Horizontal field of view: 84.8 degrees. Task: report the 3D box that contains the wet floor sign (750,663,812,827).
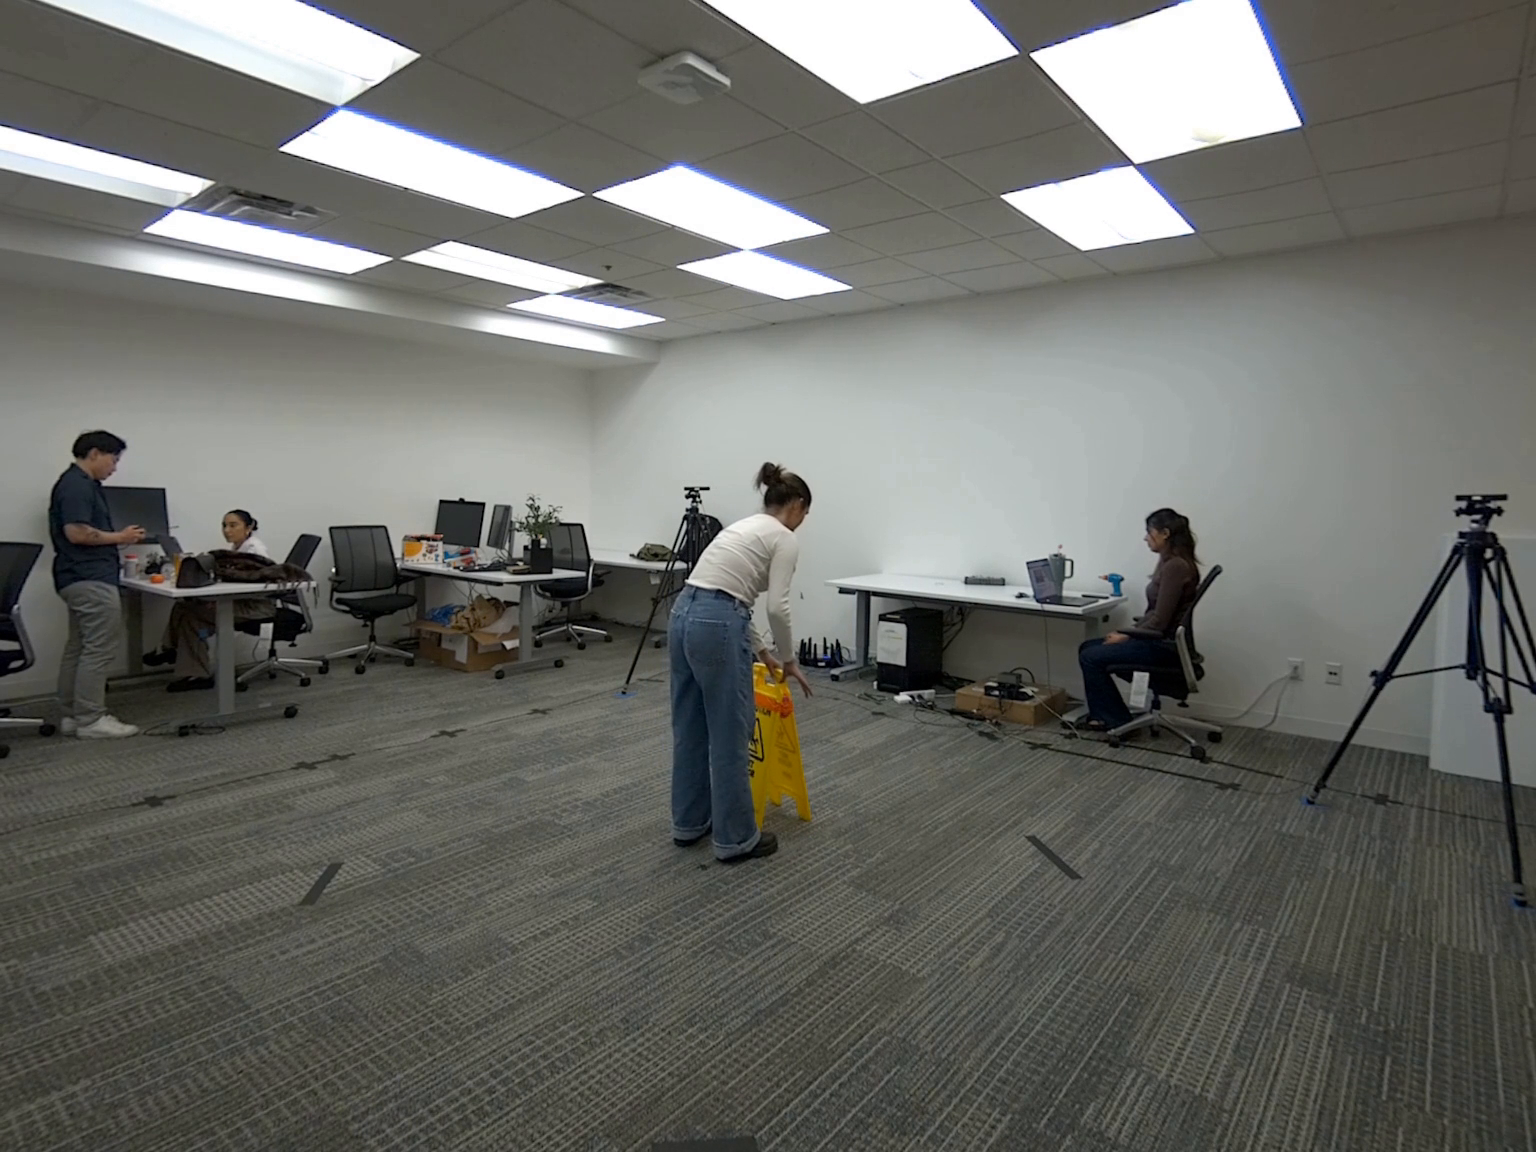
[{"bbox_3d":[-0.015,0.695,3.587,0.281,0.644,0.291,-2,4,-37],"label":"wet floor sign"}]
